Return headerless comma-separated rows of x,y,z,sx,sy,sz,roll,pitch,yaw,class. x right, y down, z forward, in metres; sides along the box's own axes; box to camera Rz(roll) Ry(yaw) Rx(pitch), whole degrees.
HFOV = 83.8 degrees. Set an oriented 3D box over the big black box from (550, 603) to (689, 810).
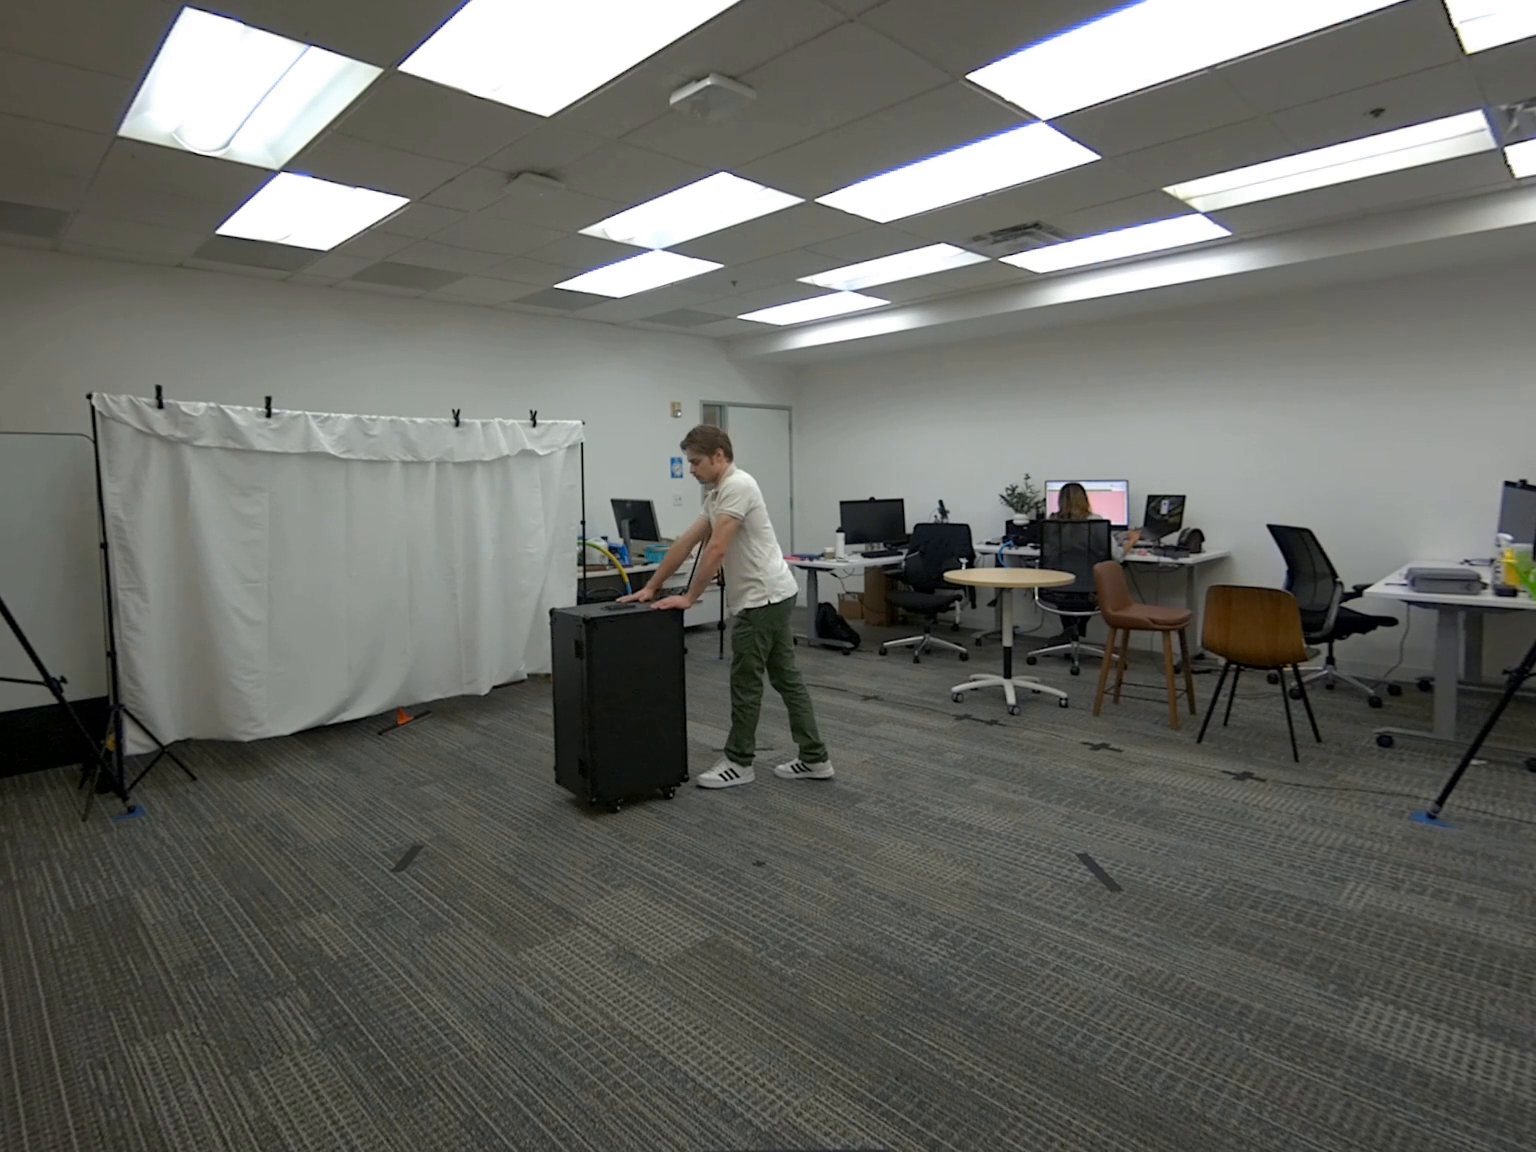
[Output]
-0.663,0.565,3.769,0.510,0.866,0.396,-4,4,-37,big black box
